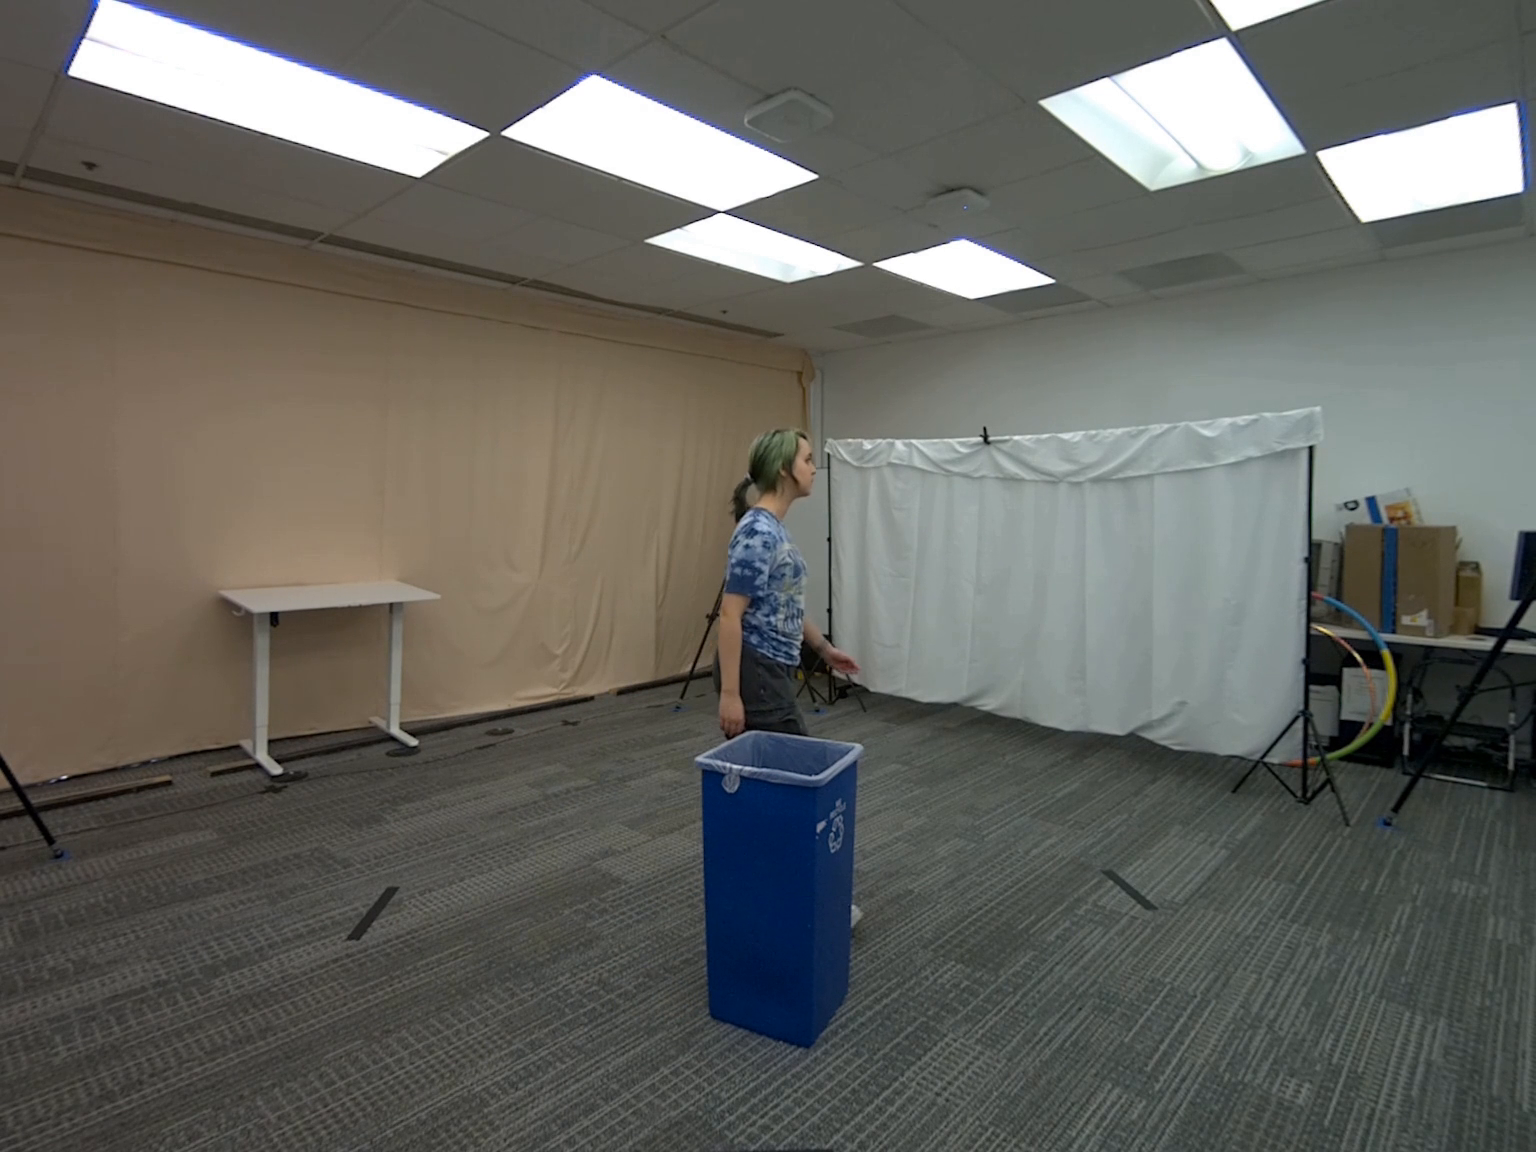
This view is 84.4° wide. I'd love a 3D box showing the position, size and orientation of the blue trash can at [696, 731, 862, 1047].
[{"bbox_3d":[0.039,0.837,2.347,0.388,0.712,0.365,2,3,27],"label":"blue trash can"}]
